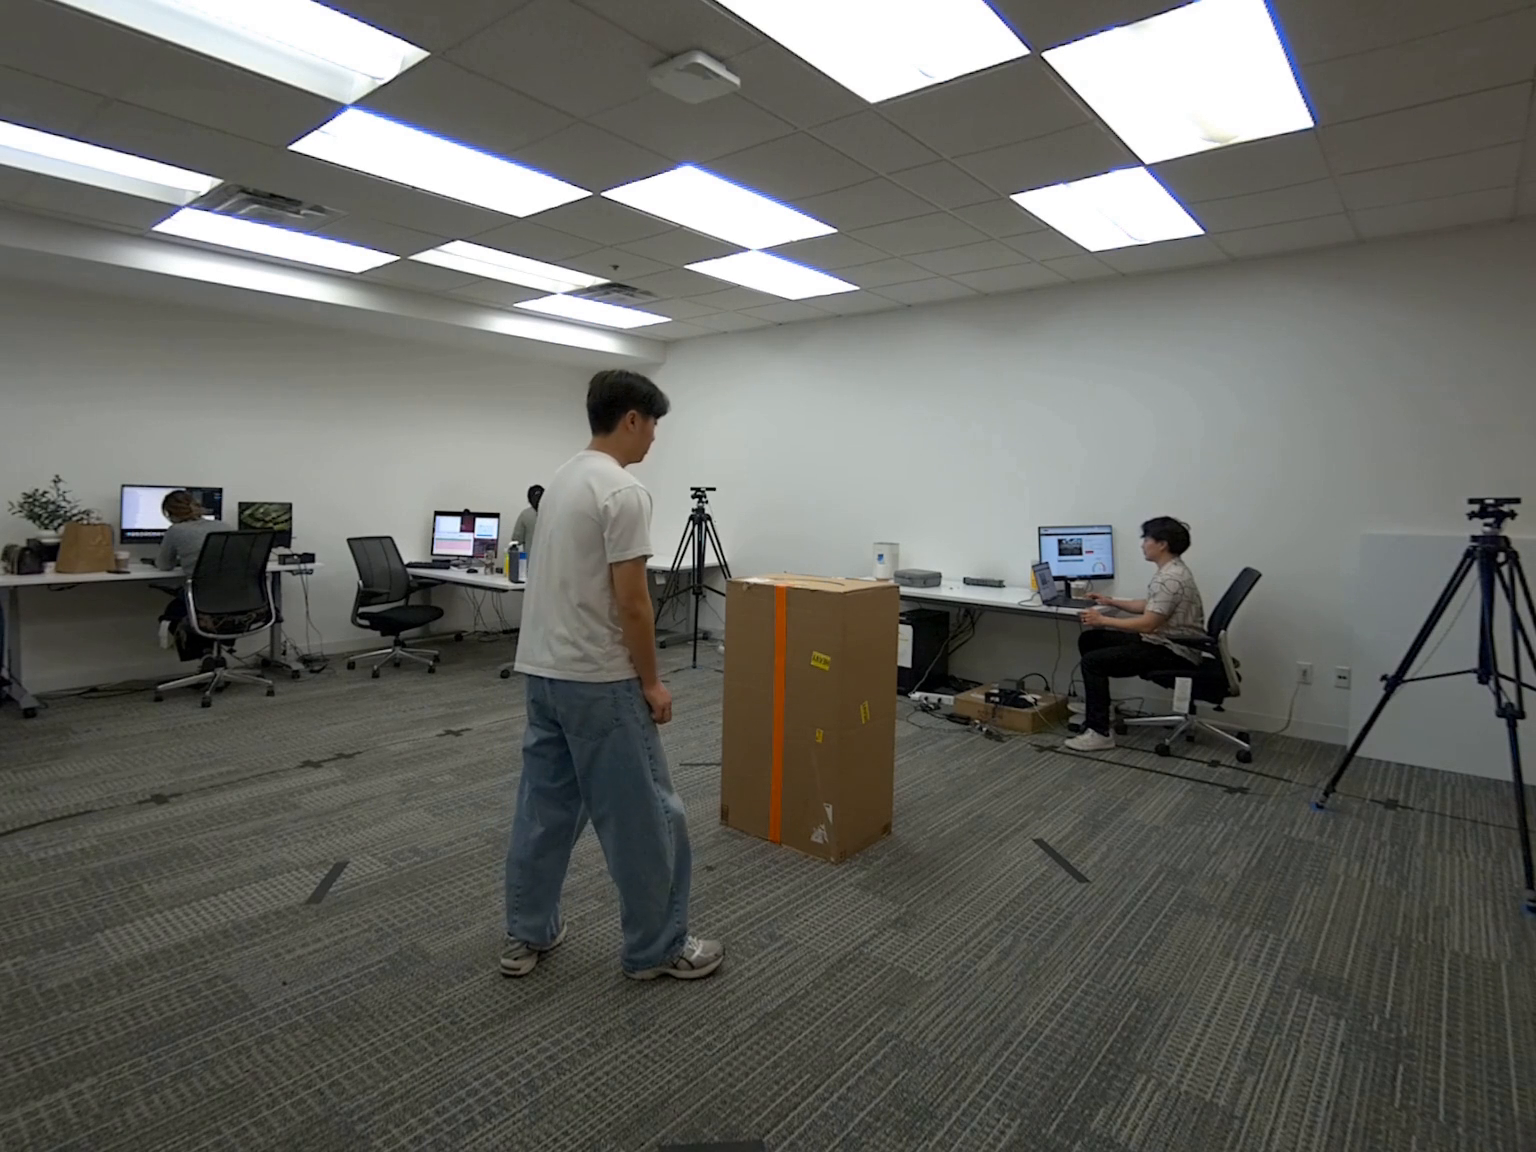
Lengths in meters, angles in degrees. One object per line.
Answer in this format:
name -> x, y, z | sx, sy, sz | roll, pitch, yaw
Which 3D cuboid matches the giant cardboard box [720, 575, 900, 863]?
giant cardboard box -> 0.156, 0.529, 3.479 | 0.597, 1.023, 0.413 | 4, 4, 39
